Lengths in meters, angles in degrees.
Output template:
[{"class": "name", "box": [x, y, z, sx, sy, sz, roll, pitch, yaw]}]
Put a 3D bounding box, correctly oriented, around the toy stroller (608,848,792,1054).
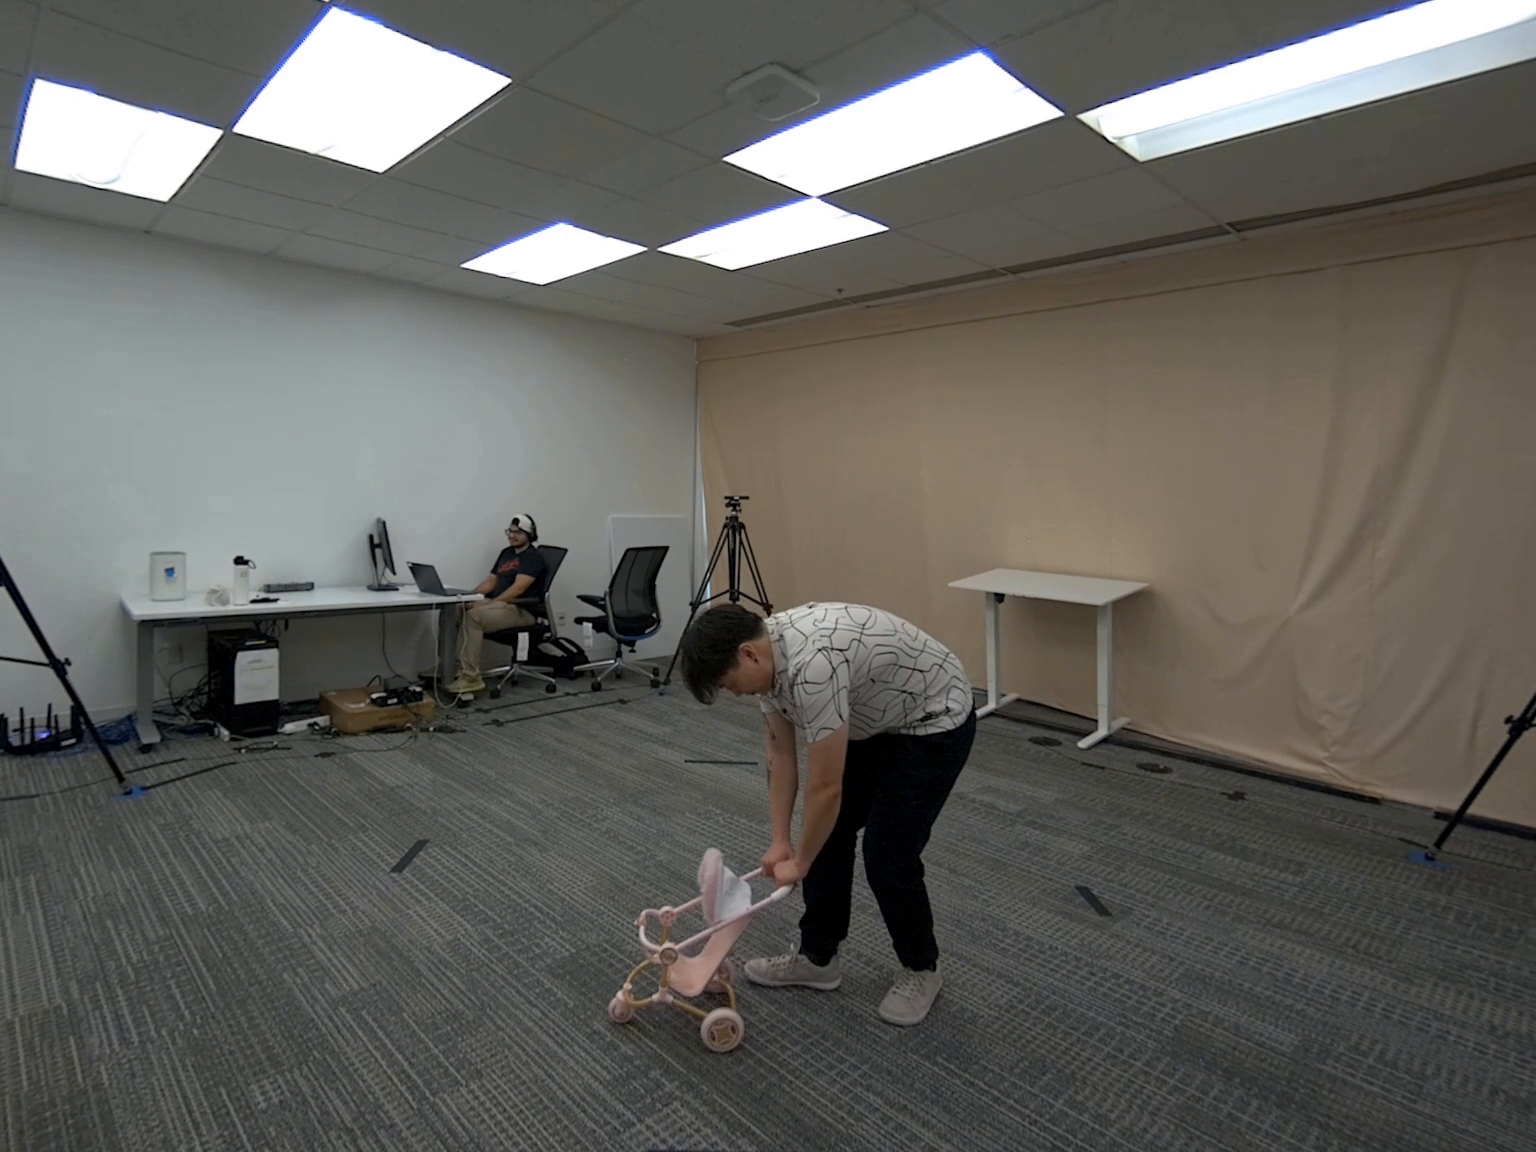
[{"class": "toy stroller", "box": [-0.186, 0.962, 2.232, 0.341, 0.534, 0.282, 20, 3, -3]}]
